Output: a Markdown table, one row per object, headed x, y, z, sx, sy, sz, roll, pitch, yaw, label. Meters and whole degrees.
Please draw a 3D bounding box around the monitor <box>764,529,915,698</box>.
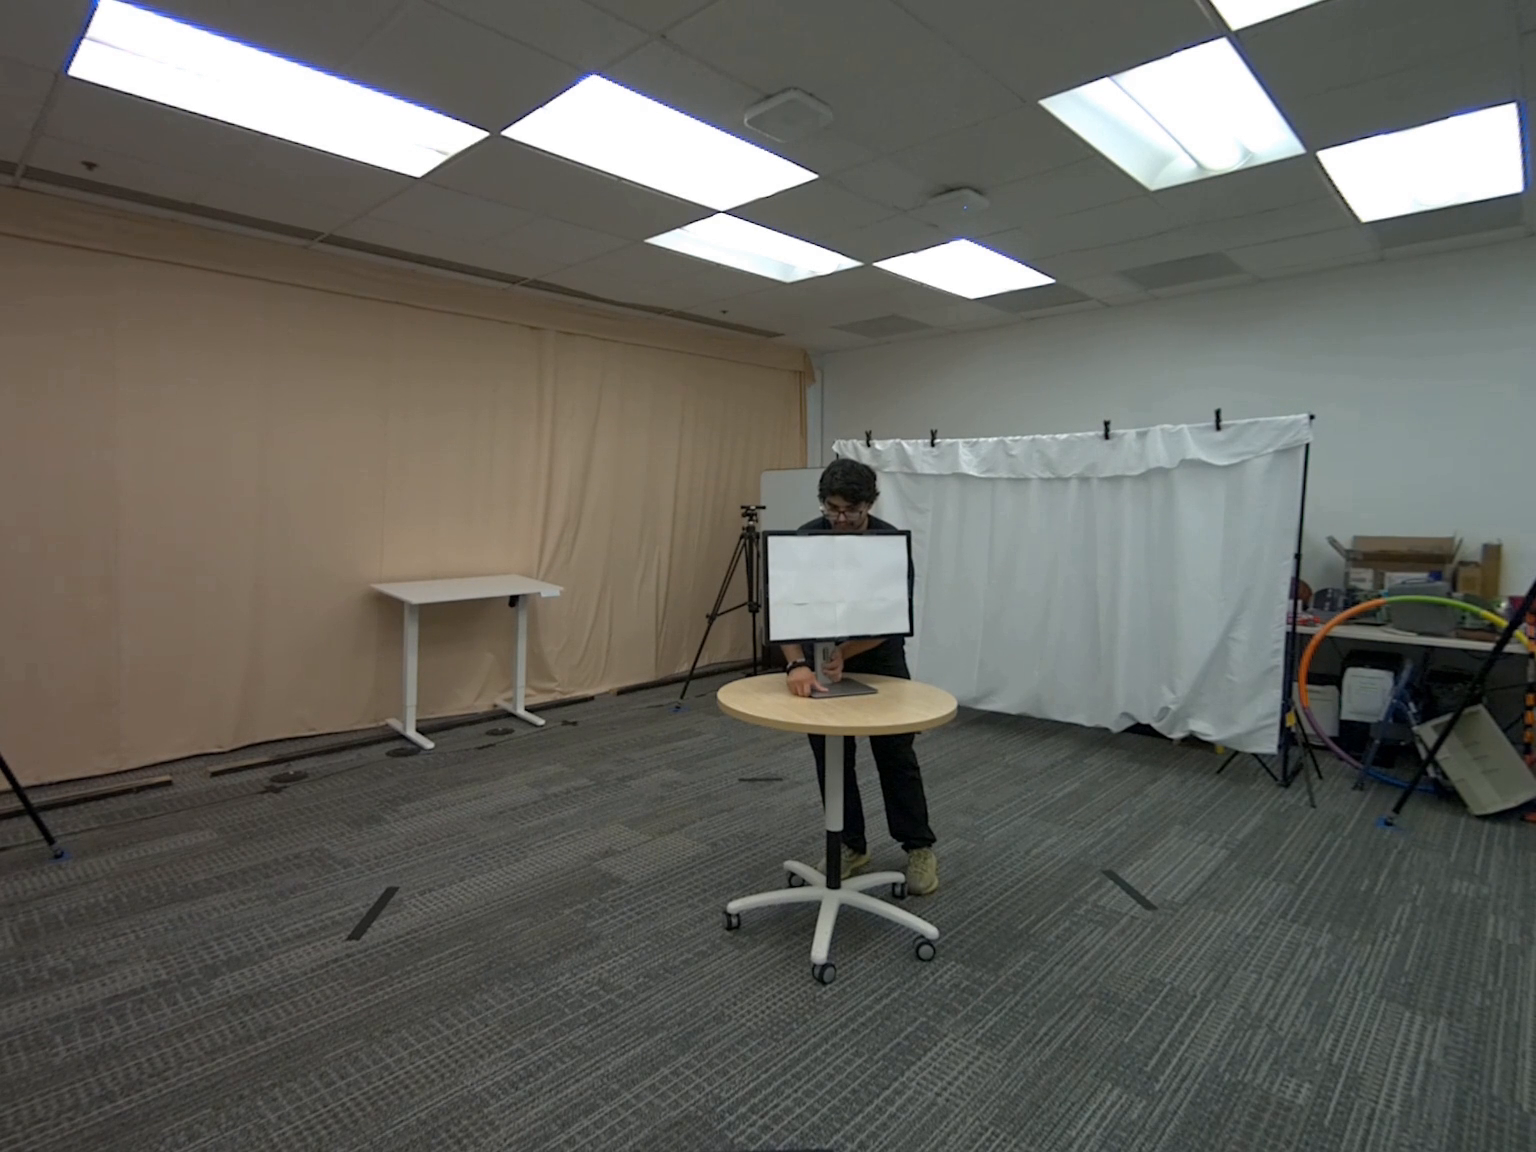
| x | y | z | sx | sy | sz | roll | pitch | yaw | label |
| --- | --- | --- | --- | --- | --- | --- | --- | --- | --- |
| 0.217 | 0.114 | 2.823 | 0.553 | 0.553 | 0.215 | -2 | 2 | -22 | monitor |
